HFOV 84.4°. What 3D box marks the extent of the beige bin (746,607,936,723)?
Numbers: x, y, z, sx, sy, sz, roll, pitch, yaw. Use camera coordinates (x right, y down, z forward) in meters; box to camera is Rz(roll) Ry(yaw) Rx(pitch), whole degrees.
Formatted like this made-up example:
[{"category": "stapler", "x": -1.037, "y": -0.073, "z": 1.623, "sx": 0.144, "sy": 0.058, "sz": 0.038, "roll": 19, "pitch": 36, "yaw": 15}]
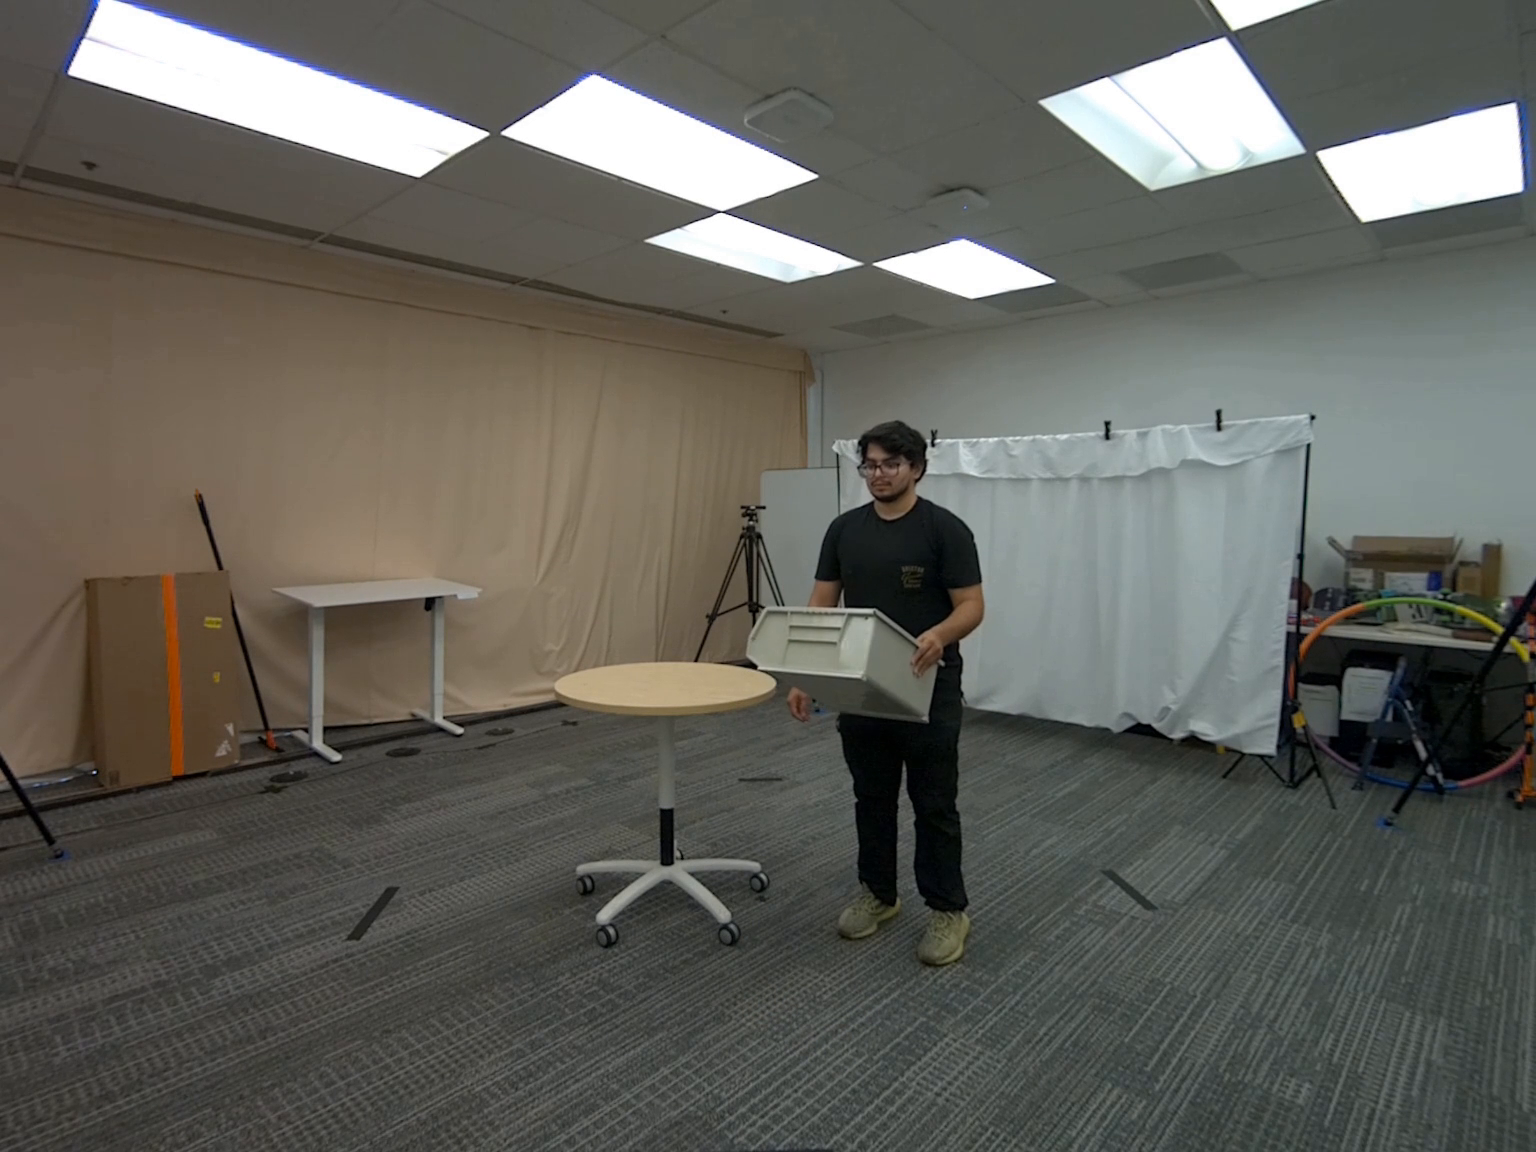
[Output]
[{"category": "beige bin", "x": 0.207, "y": 0.246, "z": 2.335, "sx": 0.389, "sy": 0.190, "sz": 0.407, "roll": 2, "pitch": -22, "yaw": 38}]
